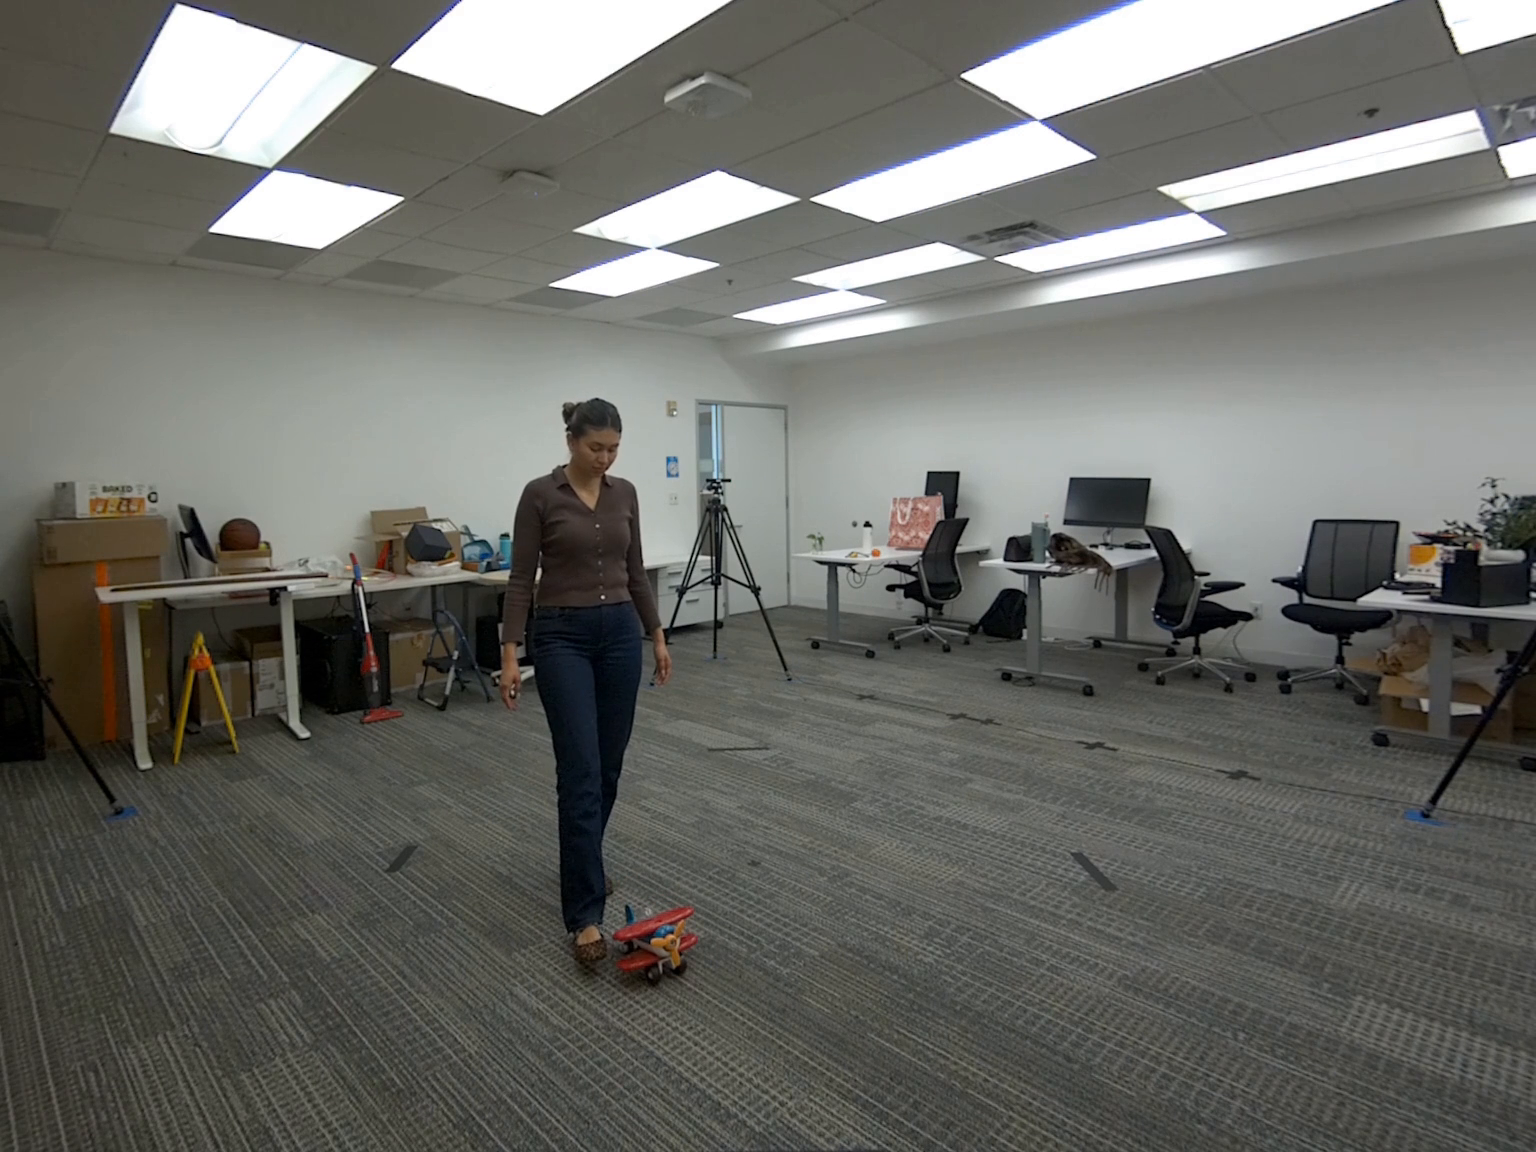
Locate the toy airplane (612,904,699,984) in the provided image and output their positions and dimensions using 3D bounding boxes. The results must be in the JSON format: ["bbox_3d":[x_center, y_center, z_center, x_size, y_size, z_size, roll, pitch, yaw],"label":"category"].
[{"bbox_3d":[-0.353,1.047,2.461,0.265,0.155,0.247,3,7,24],"label":"toy airplane"}]
